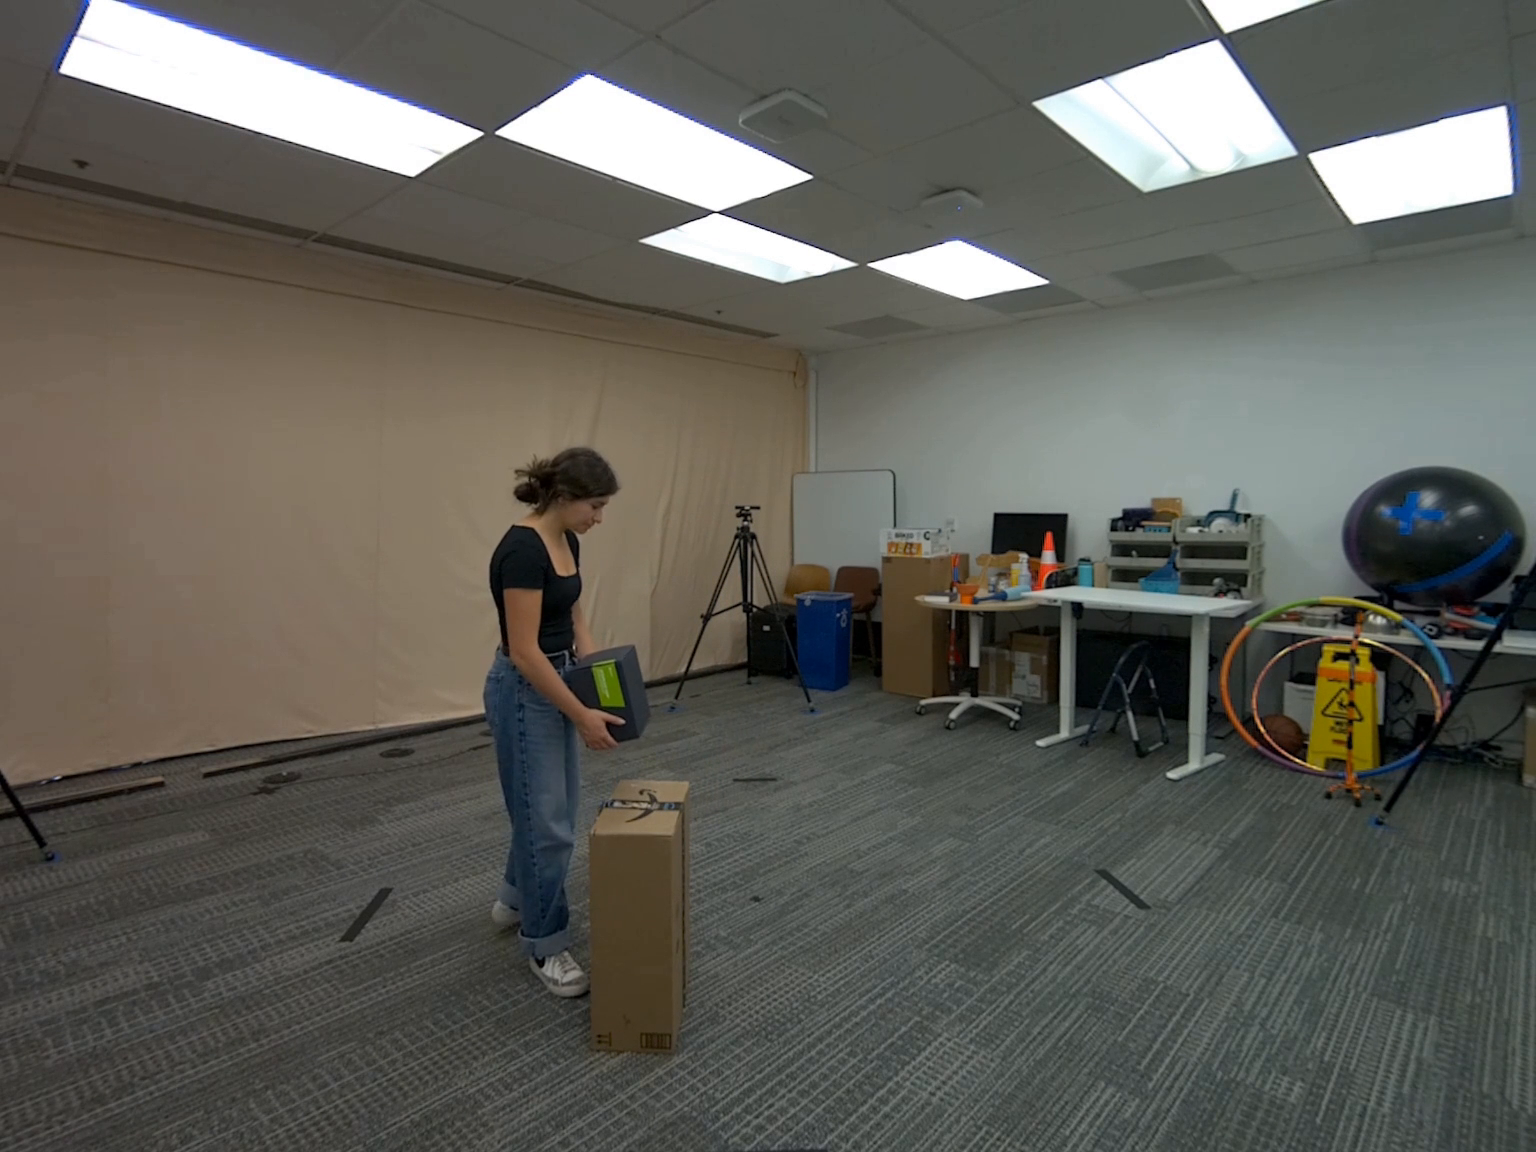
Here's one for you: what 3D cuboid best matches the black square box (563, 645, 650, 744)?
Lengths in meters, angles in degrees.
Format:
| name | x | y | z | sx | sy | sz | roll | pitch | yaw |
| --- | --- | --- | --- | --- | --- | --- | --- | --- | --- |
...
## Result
| name | x | y | z | sx | sy | sz | roll | pitch | yaw |
| --- | --- | --- | --- | --- | --- | --- | --- | --- | --- |
| black square box | -0.464 | 0.347 | 2.422 | 0.156 | 0.227 | 0.217 | -8 | 6 | 1 |
